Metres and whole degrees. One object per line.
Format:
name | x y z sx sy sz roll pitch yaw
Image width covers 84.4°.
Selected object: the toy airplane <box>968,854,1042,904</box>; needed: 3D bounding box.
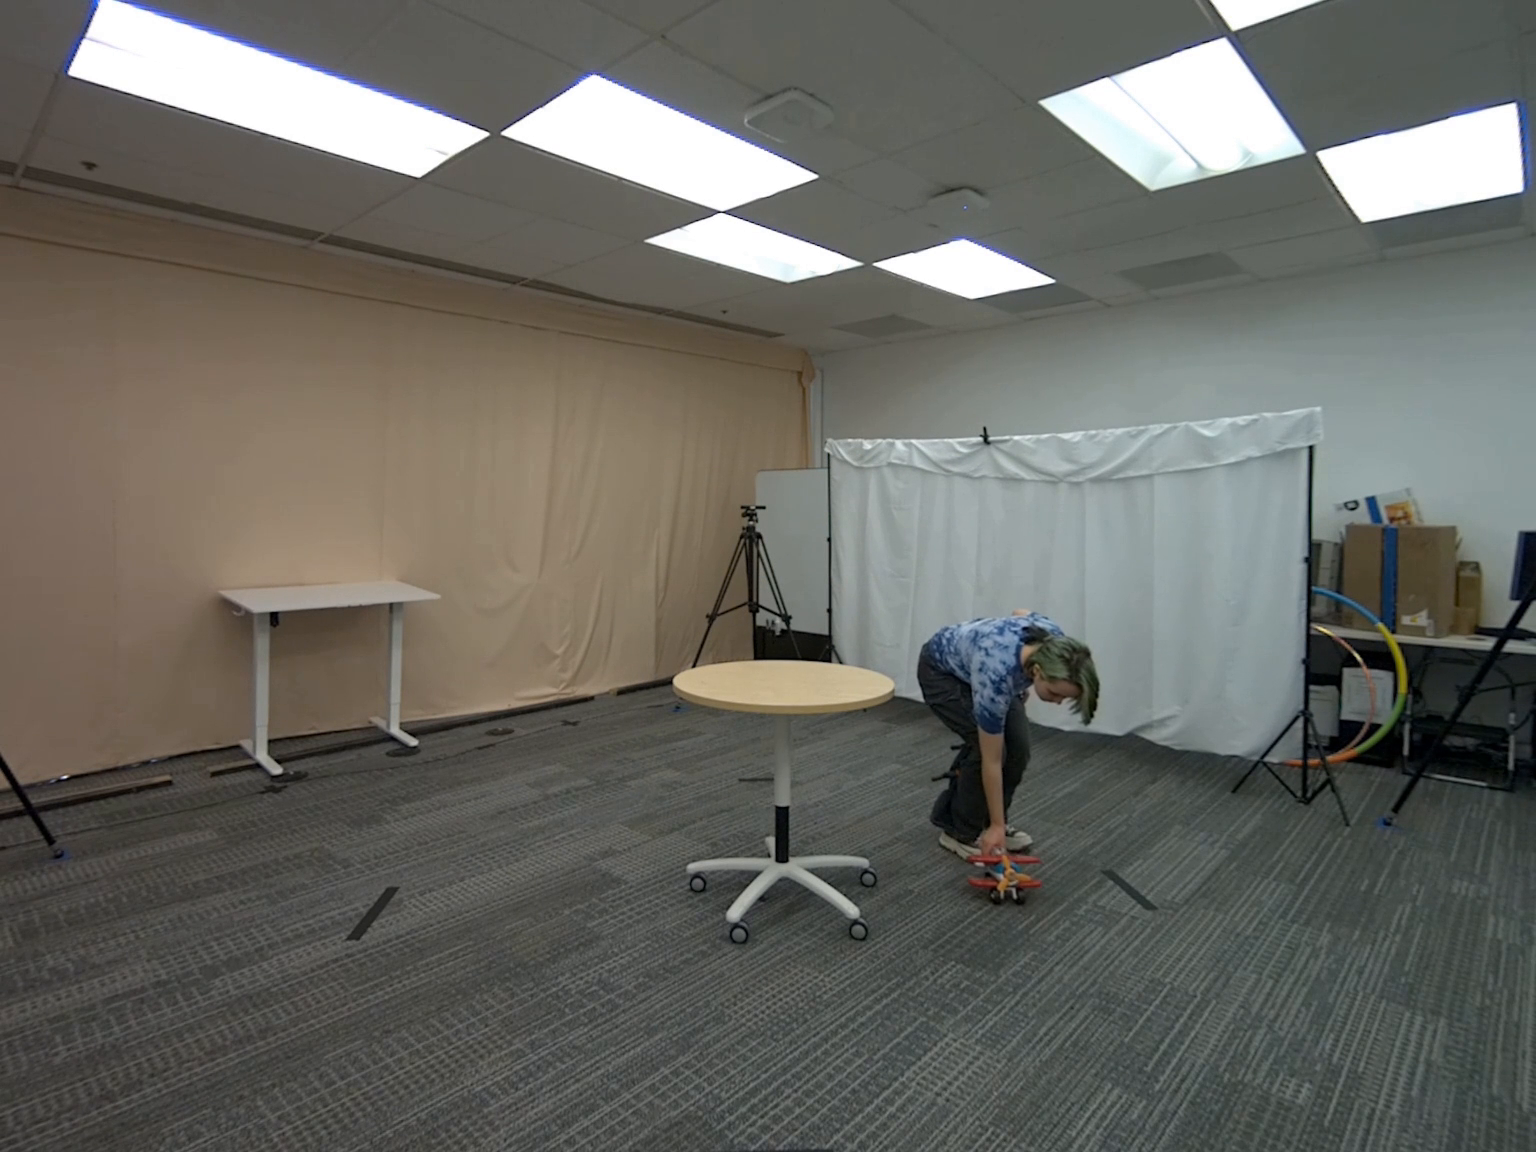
toy airplane | 0.820 1.067 3.016 0.244 0.156 0.267 -2 8 -31
